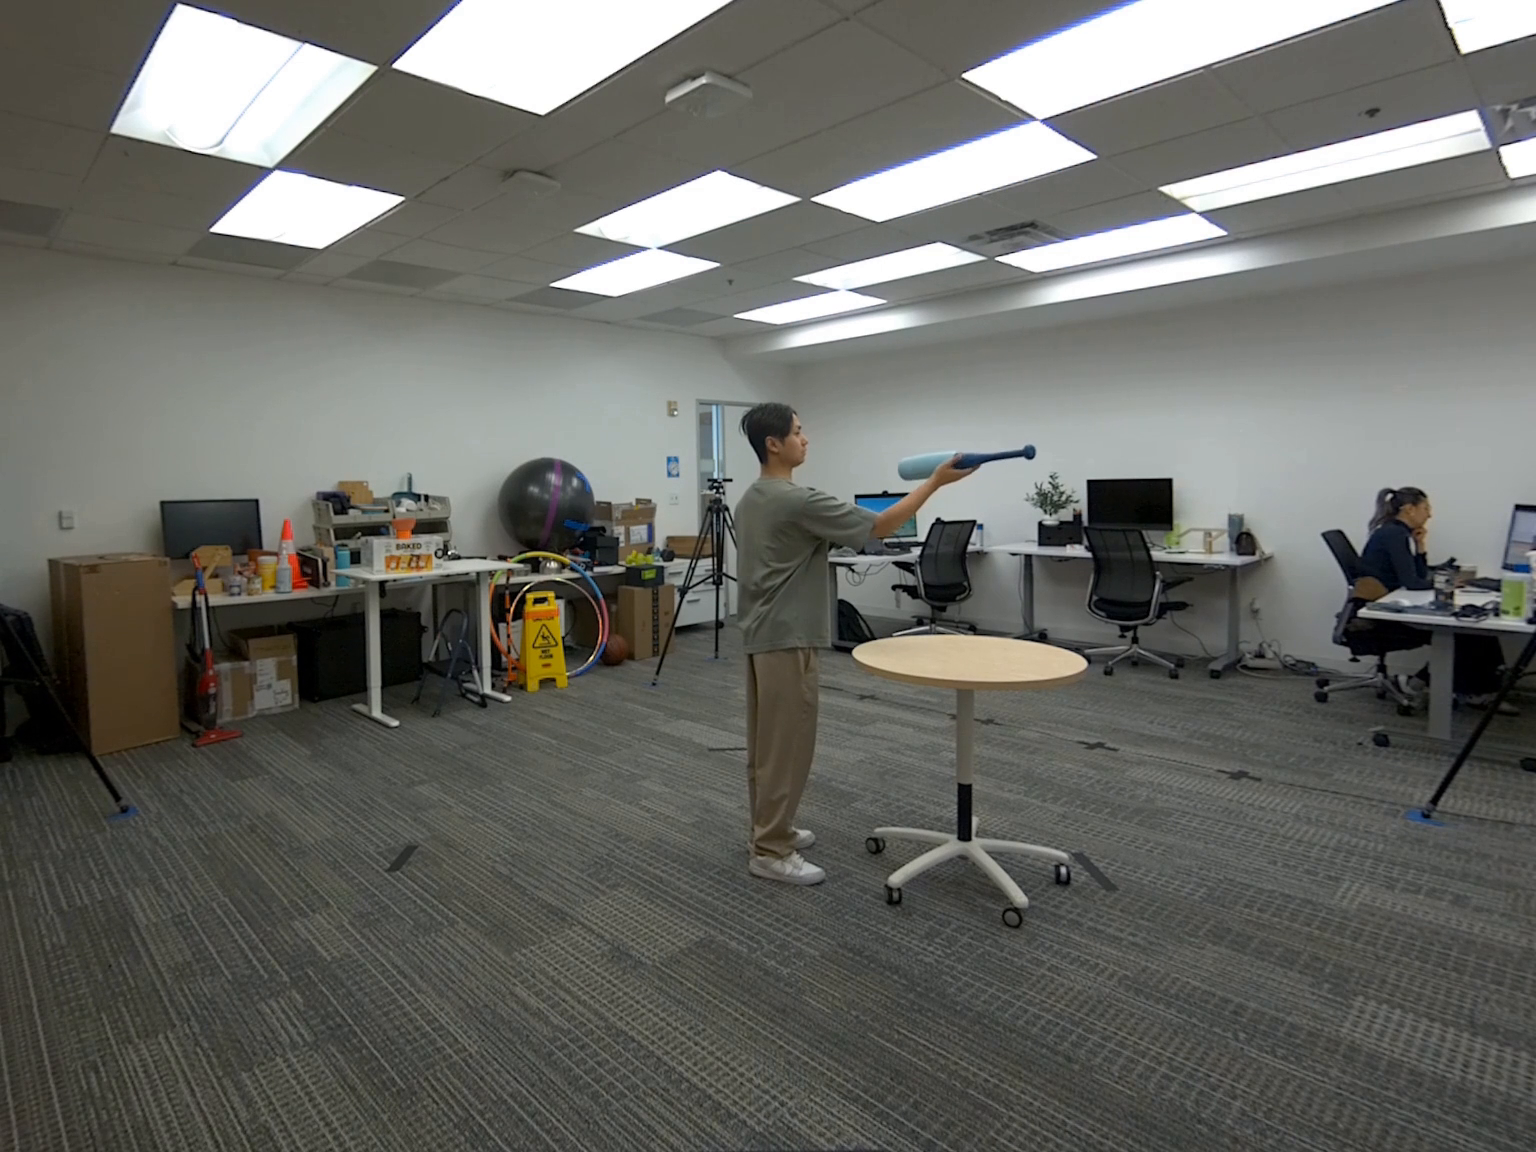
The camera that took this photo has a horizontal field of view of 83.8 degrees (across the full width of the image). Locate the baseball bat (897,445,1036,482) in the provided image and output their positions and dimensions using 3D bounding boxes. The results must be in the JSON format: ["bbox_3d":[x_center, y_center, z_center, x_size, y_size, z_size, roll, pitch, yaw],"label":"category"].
[{"bbox_3d":[0.682,-0.380,2.957,0.087,0.089,0.558,-5,3,-38],"label":"baseball bat"}]
